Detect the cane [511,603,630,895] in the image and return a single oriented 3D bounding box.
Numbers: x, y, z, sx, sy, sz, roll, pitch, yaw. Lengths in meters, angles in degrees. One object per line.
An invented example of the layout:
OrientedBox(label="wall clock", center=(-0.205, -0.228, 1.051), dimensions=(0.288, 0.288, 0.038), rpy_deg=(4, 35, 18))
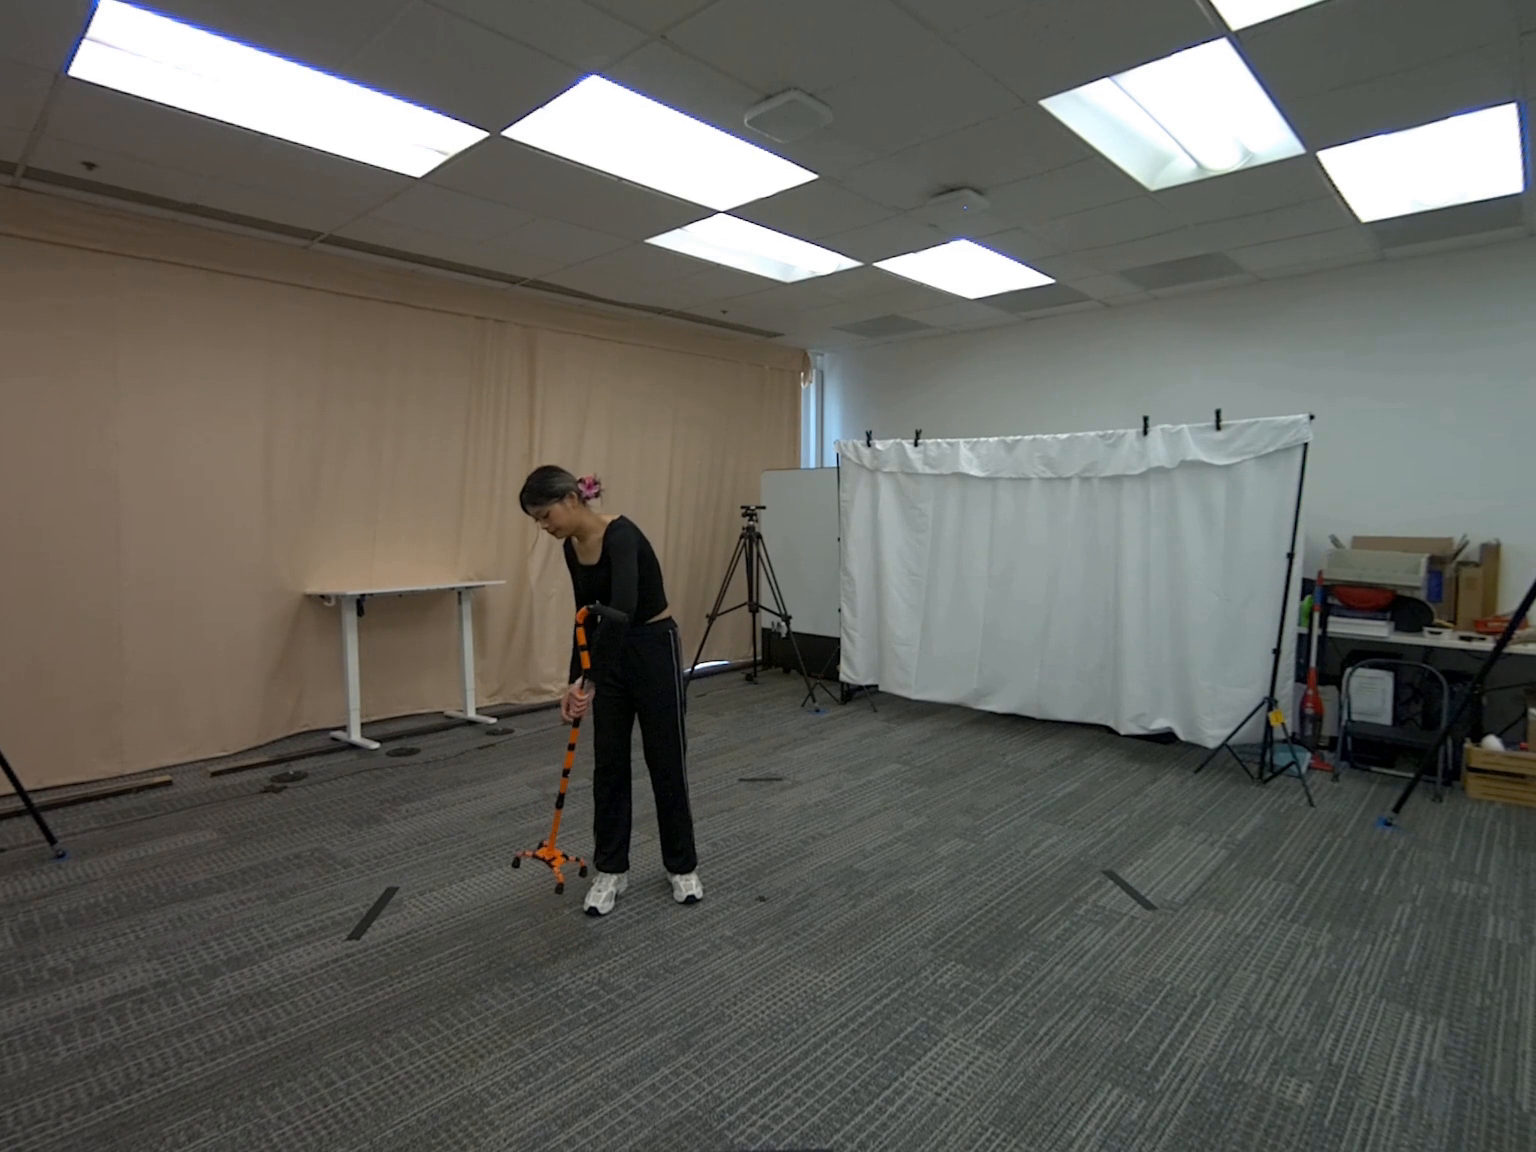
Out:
OrientedBox(label="cane", center=(-0.597, 0.518, 2.596), dimensions=(0.212, 0.904, 0.148), rpy_deg=(19, 13, 25))
